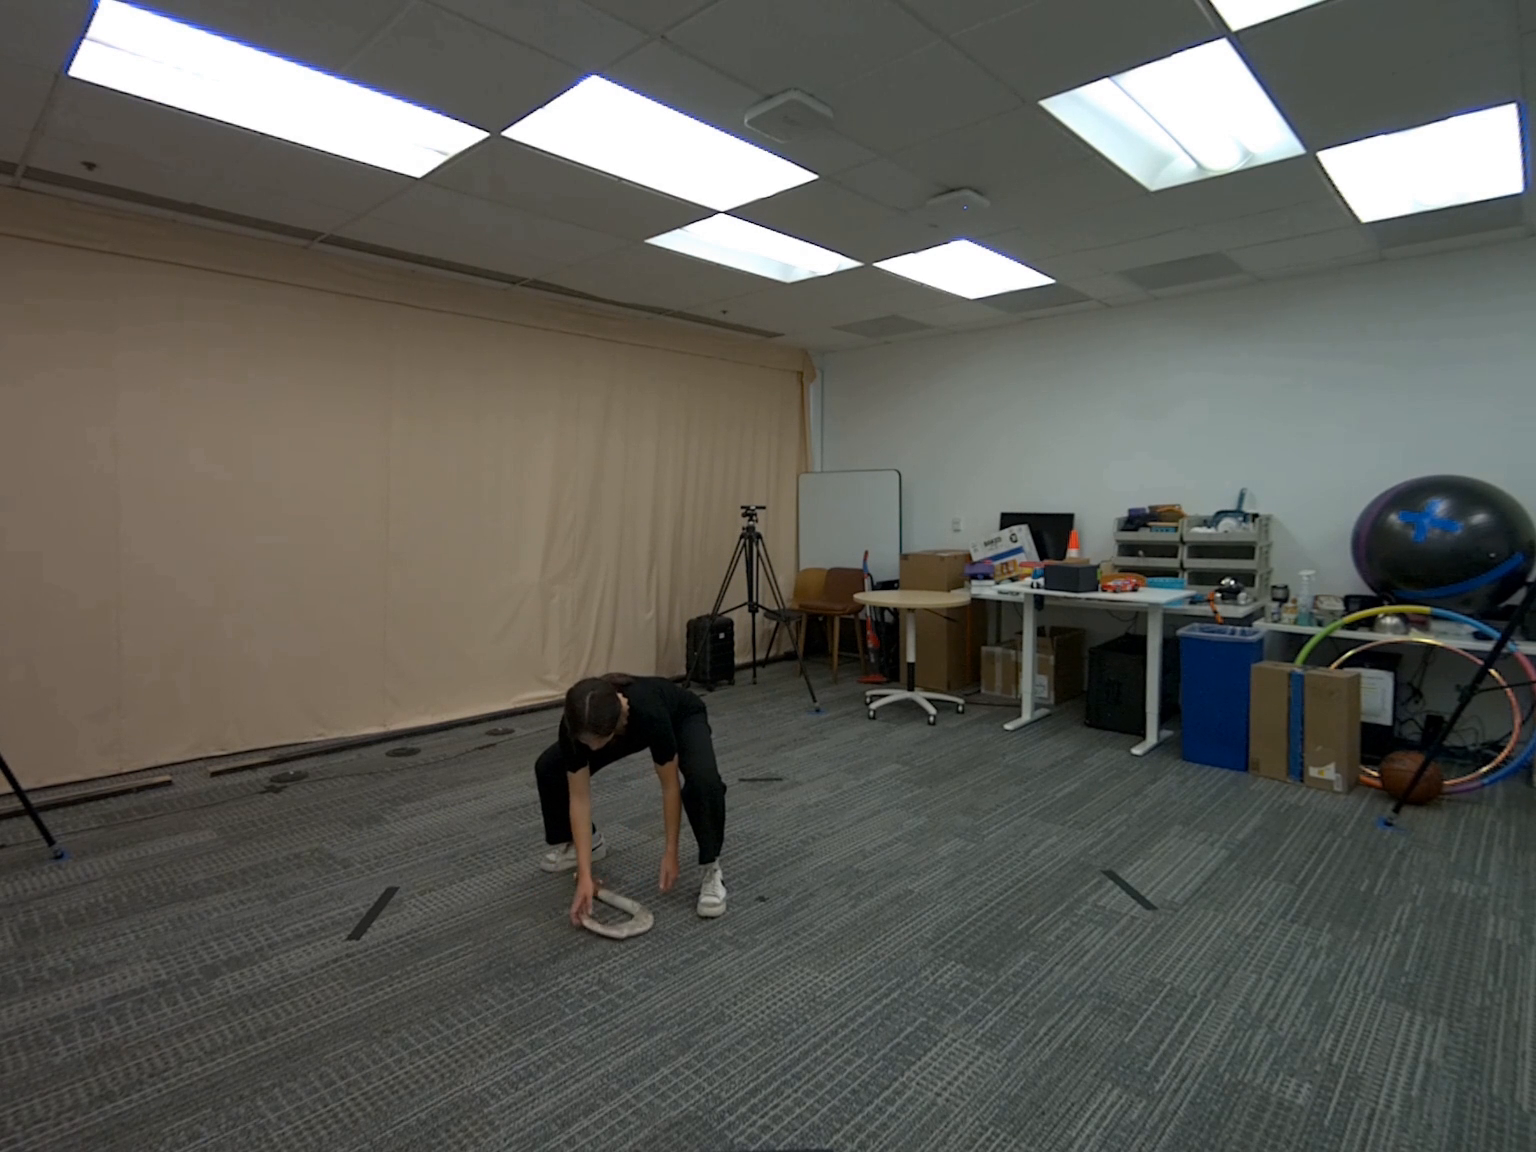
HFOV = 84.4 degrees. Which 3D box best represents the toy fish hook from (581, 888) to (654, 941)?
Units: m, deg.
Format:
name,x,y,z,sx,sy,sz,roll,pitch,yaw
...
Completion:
name,x,y,z,sx,sy,sz,roll,pitch,yaw
toy fish hook,-0.588,1.127,2.907,0.217,0.048,0.523,4,0,-40
